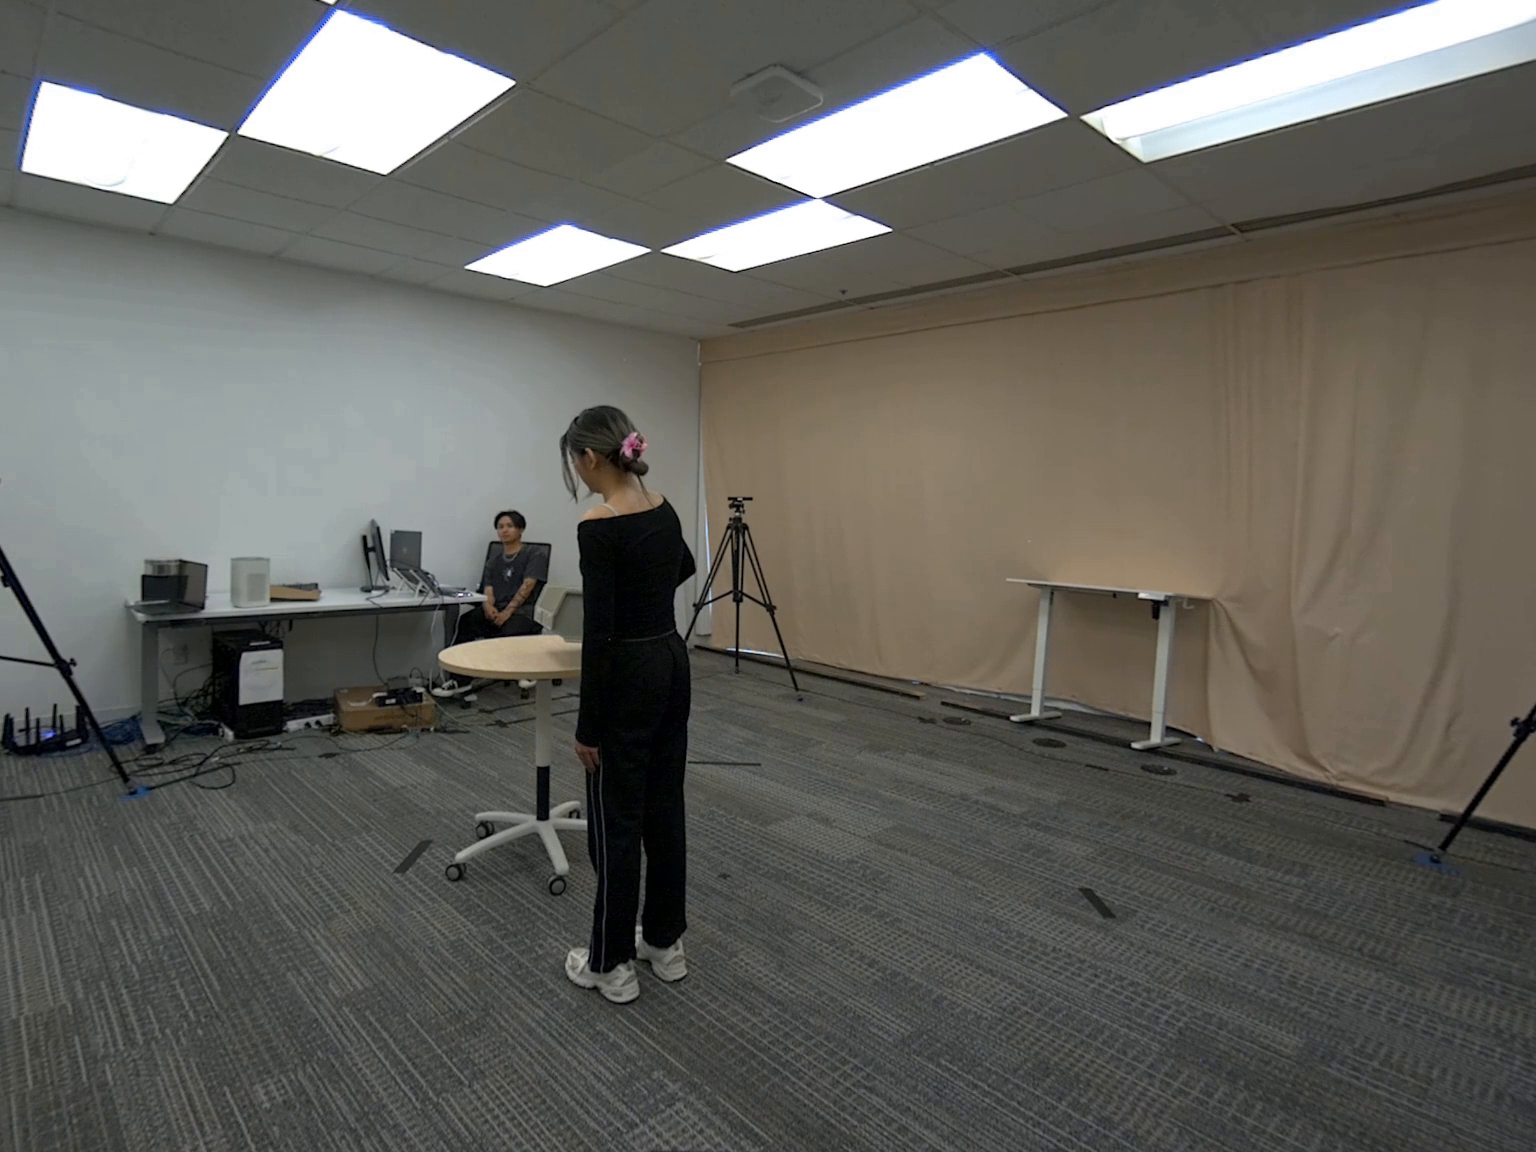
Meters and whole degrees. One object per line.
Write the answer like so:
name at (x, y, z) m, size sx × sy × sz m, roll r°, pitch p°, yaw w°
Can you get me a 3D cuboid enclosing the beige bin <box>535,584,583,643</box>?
beige bin at (-0.644, 0.135, 3.087) m, size 0.371 × 0.189 × 0.429 m, roll 5°, pitch 0°, yaw -22°
